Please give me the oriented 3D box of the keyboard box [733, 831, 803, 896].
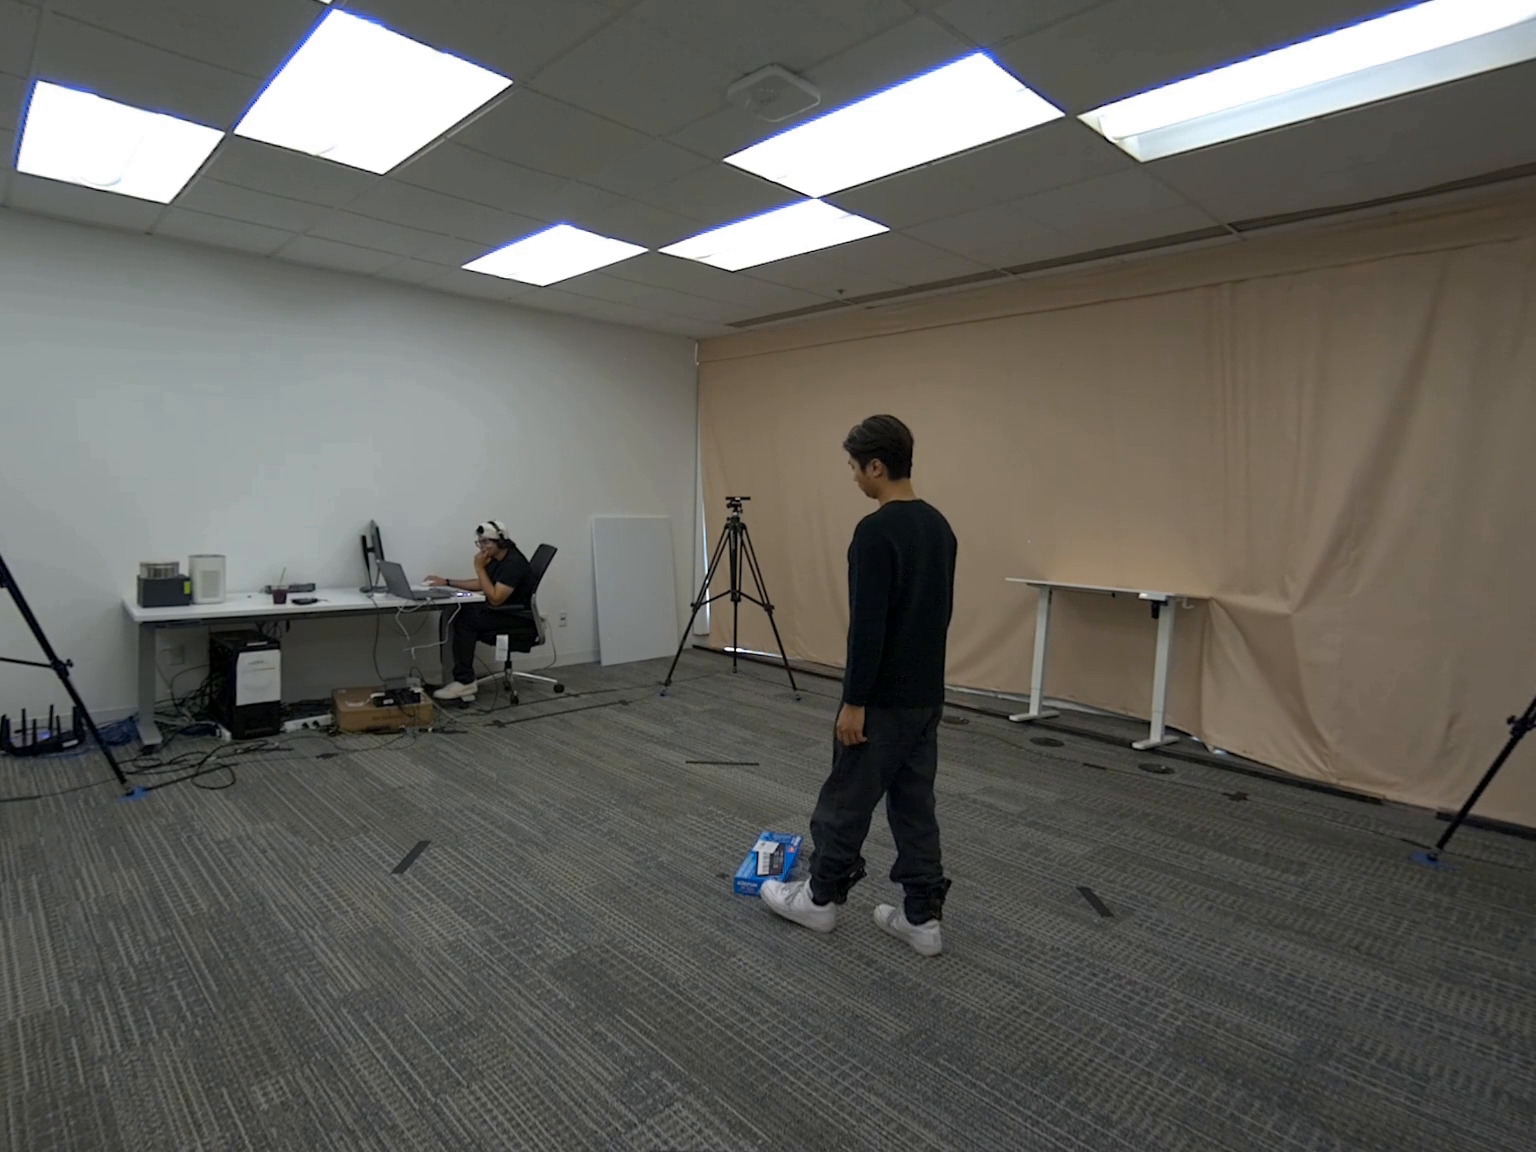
[{"bbox_3d":[0.002,1.073,3.148,0.178,0.059,0.433,2,5,13],"label":"keyboard box"}]
